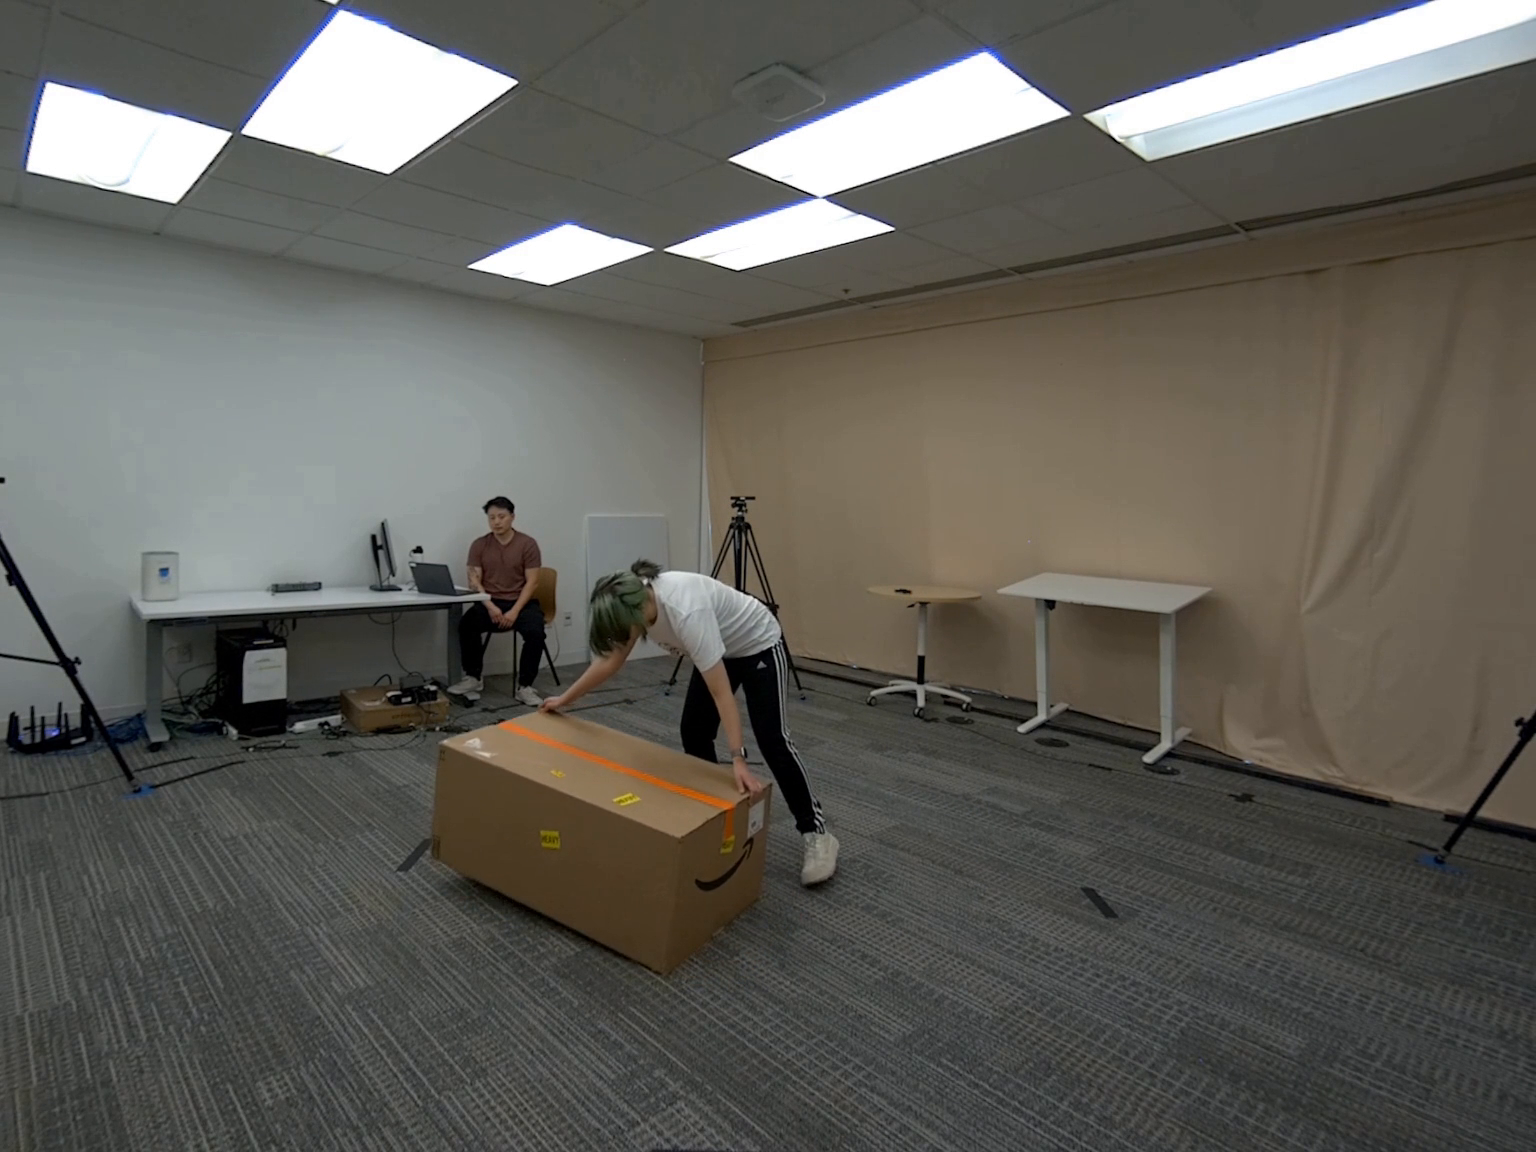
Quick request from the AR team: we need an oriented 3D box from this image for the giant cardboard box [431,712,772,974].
[{"bbox_3d":[-0.588,0.843,2.908,1.050,0.424,0.567,11,9,29],"label":"giant cardboard box"}]
